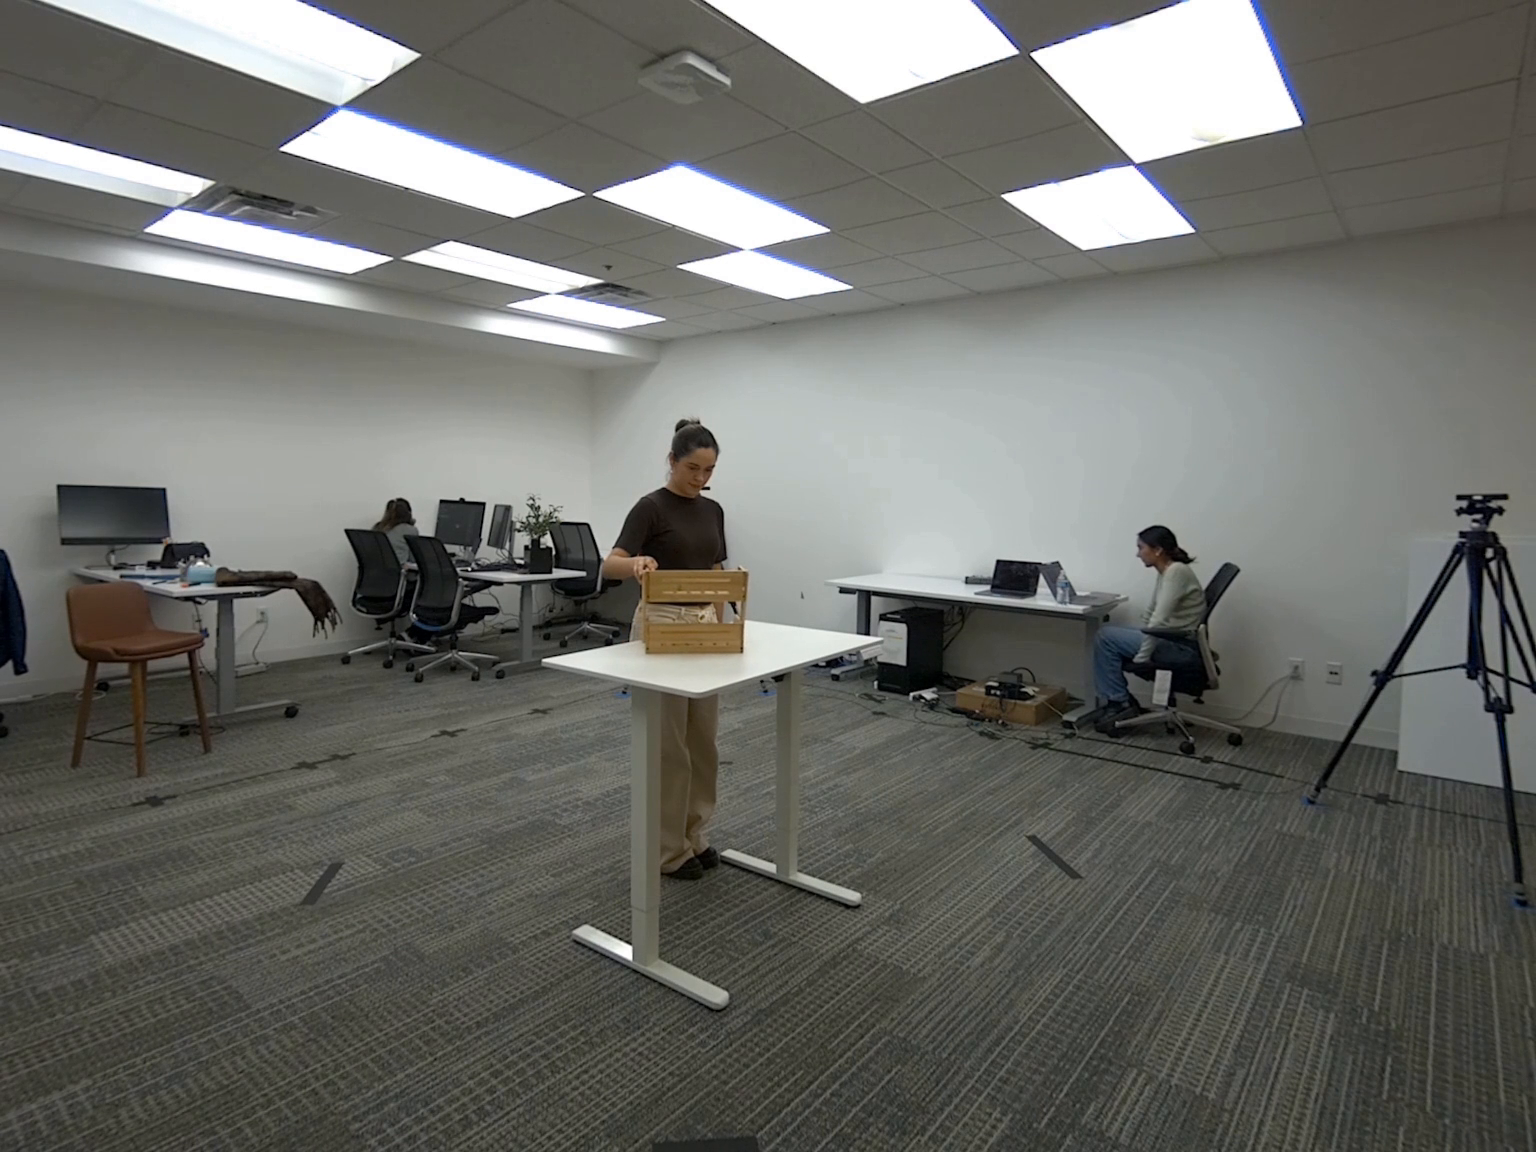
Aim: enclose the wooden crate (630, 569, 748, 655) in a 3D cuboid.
[{"bbox_3d":[-0.252,0.097,2.690,0.322,0.272,0.306,-2,6,-7],"label":"wooden crate"}]
